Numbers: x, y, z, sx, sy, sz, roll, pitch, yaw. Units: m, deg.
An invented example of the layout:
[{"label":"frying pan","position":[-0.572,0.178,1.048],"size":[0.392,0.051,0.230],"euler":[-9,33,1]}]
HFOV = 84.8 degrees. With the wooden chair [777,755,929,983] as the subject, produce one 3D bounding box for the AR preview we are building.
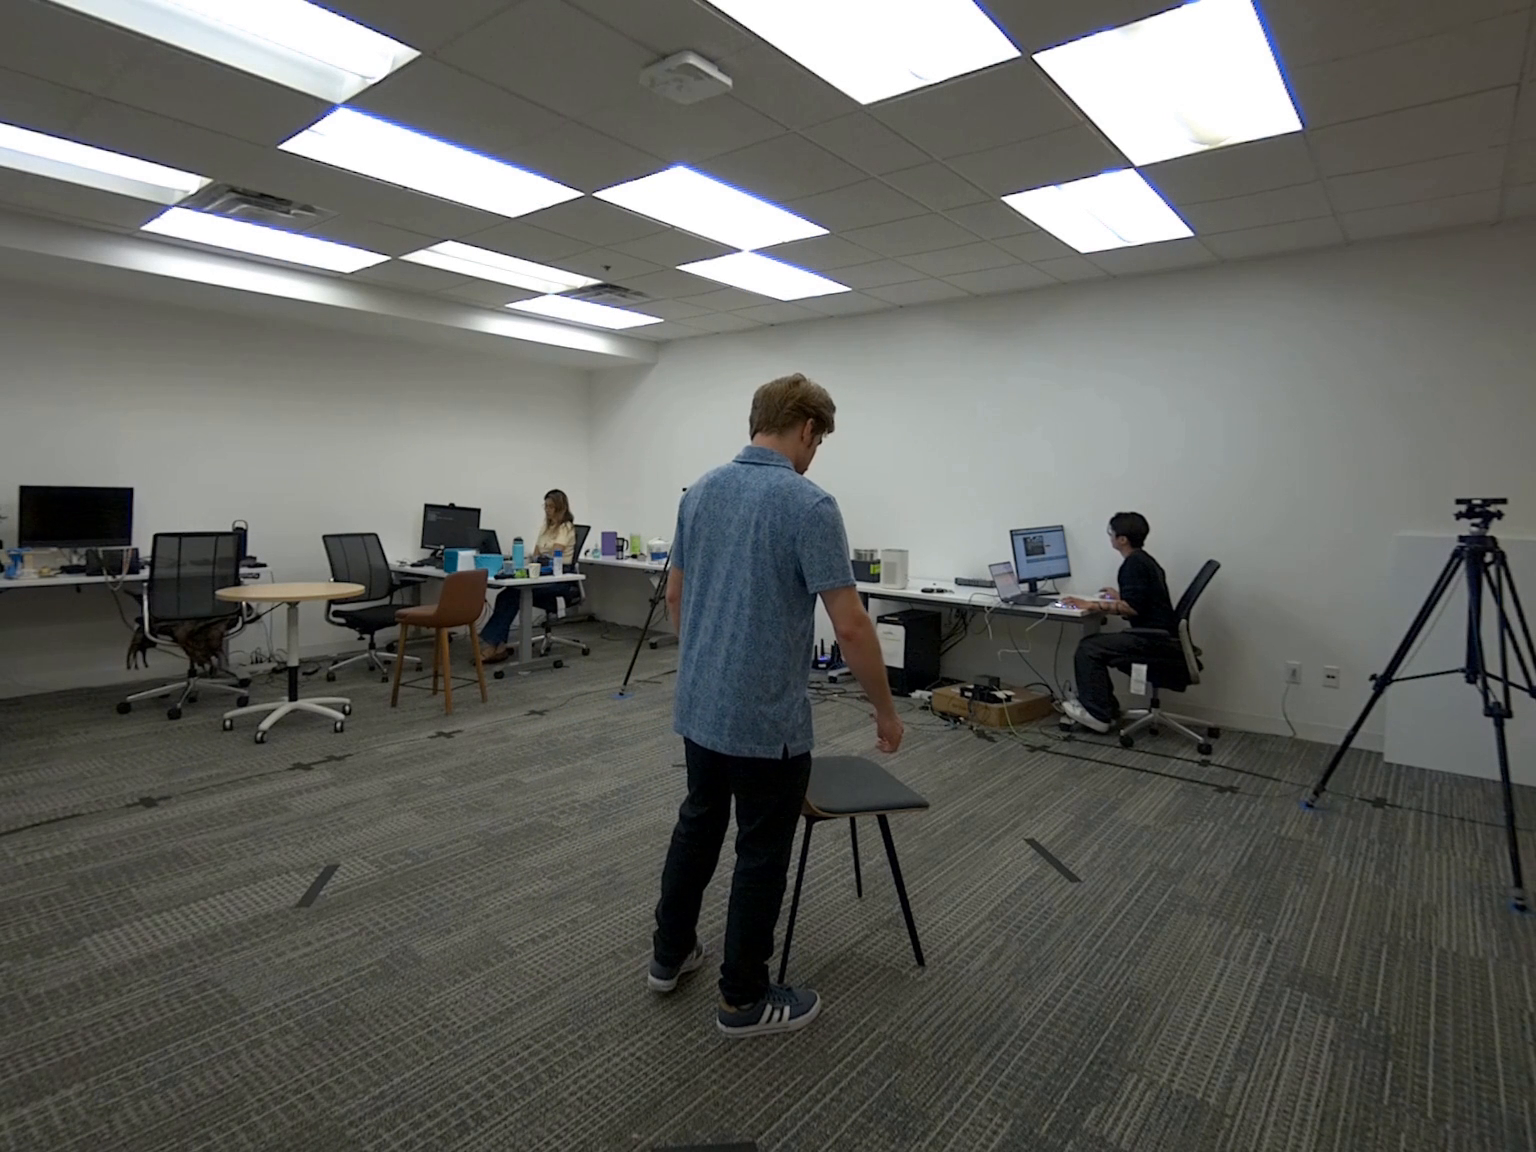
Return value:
[{"label":"wooden chair","position":[0.192,0.694,2.646],"size":[0.515,0.874,0.487],"euler":[-4,4,-17]}]
